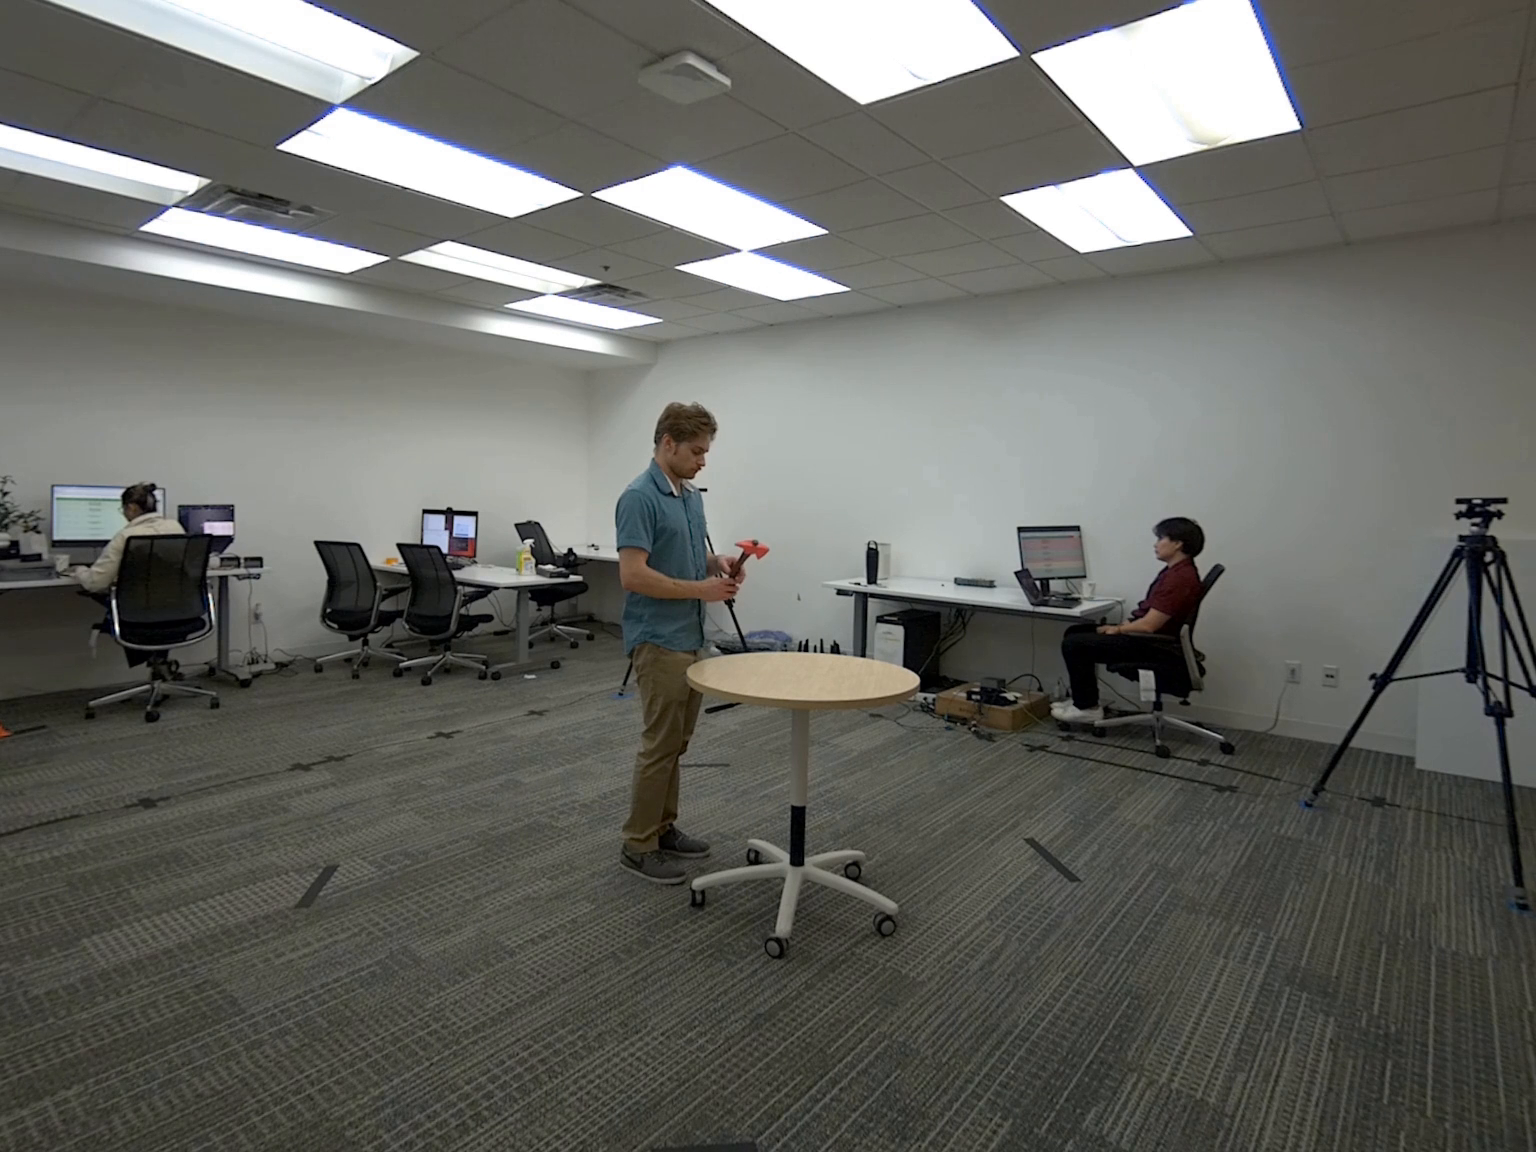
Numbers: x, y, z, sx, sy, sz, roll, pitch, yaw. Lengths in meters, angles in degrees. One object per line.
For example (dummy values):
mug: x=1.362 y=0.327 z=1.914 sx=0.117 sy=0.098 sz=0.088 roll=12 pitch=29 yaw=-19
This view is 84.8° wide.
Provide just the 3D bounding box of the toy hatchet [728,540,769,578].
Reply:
toy hatchet: x=-0.104 y=-0.035 z=2.994 sx=0.129 sy=0.030 sz=0.265 roll=-3 pitch=-34 yaw=-14
